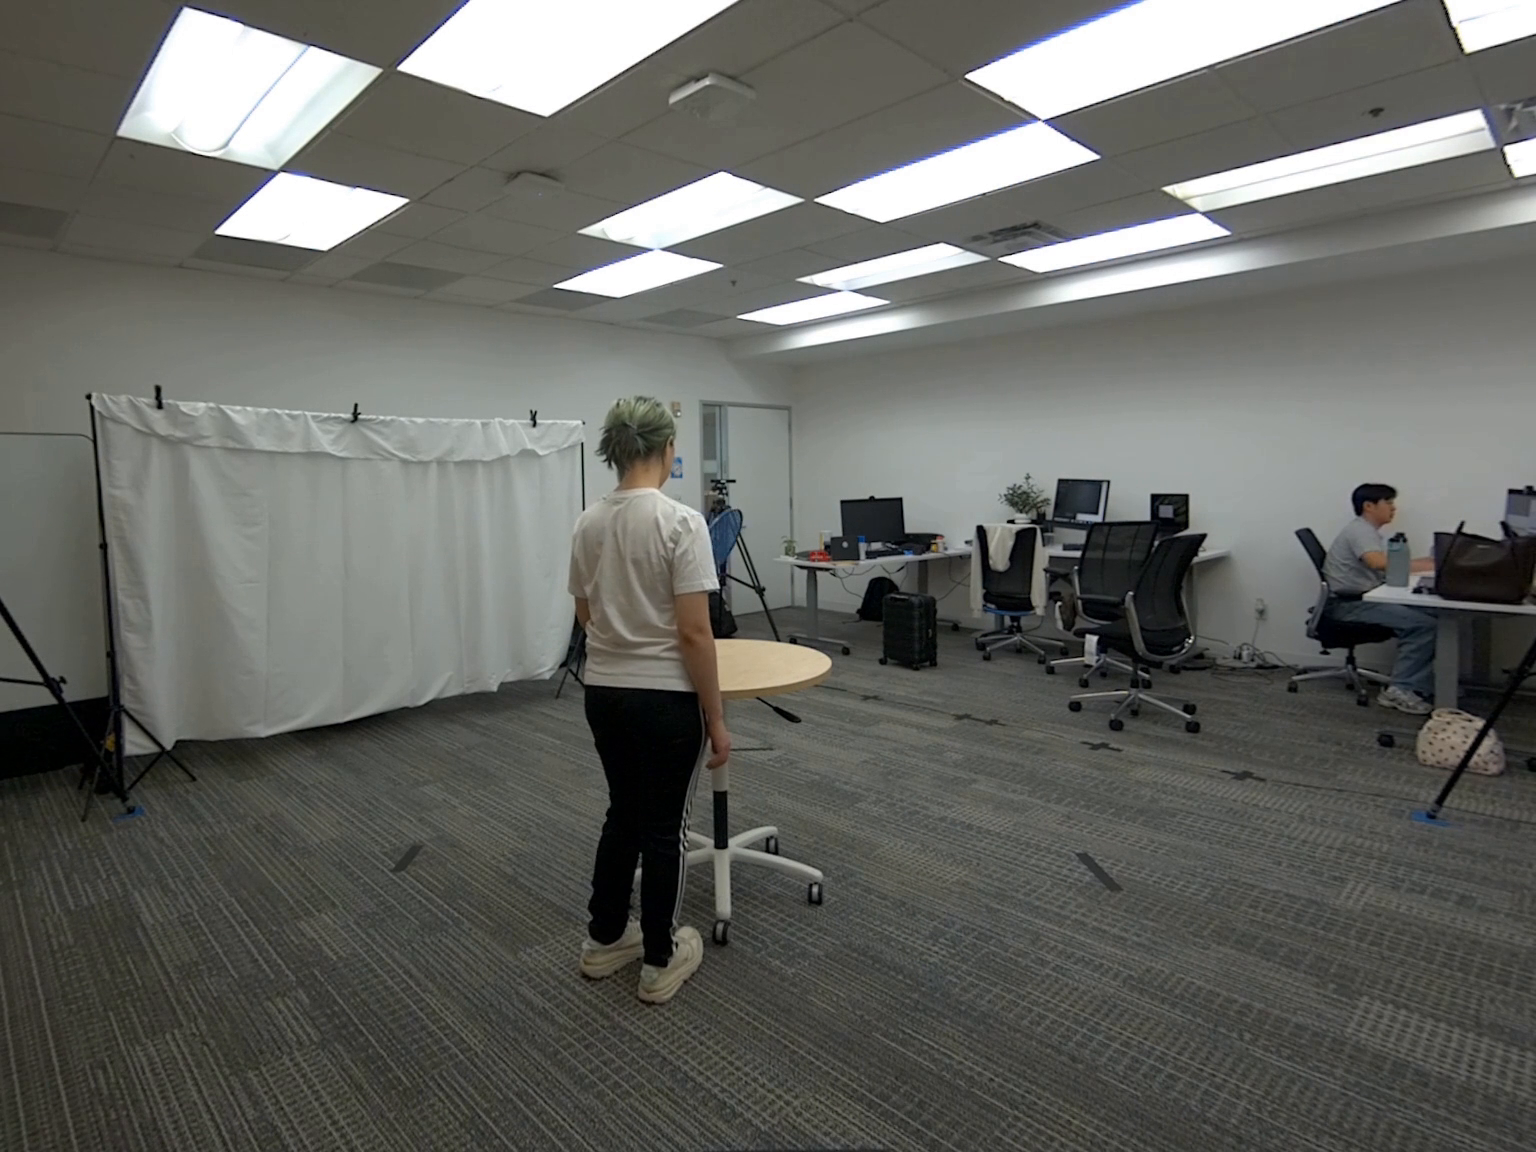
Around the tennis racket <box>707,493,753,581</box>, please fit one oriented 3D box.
[{"bbox_3d":[-0.202,-0.032,2.635,0.033,0.434,0.207,26,-26,25],"label":"tennis racket"}]
